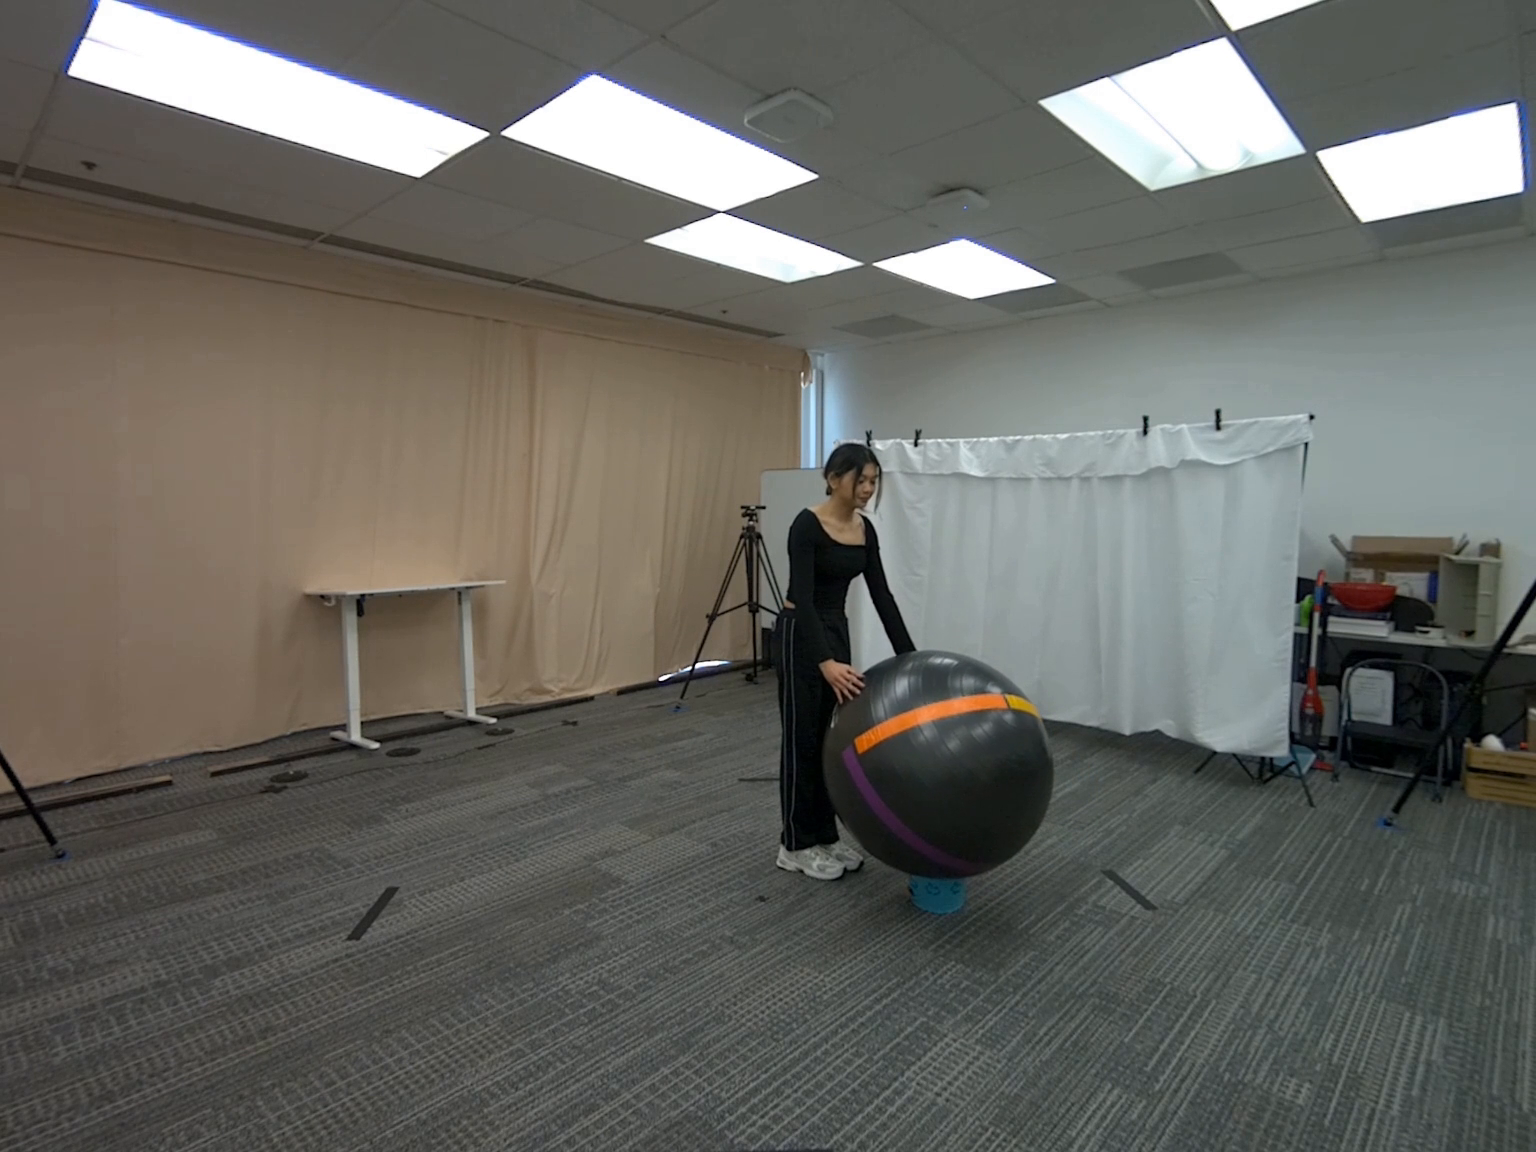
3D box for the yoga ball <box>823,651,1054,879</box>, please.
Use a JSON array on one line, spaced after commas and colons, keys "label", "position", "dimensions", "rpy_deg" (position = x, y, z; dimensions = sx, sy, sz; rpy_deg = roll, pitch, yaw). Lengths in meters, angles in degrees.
[{"label": "yoga ball", "position": [0.579, 0.637, 2.870], "dimensions": [0.757, 0.756, 0.760], "rpy_deg": [0, 4, -2]}]
